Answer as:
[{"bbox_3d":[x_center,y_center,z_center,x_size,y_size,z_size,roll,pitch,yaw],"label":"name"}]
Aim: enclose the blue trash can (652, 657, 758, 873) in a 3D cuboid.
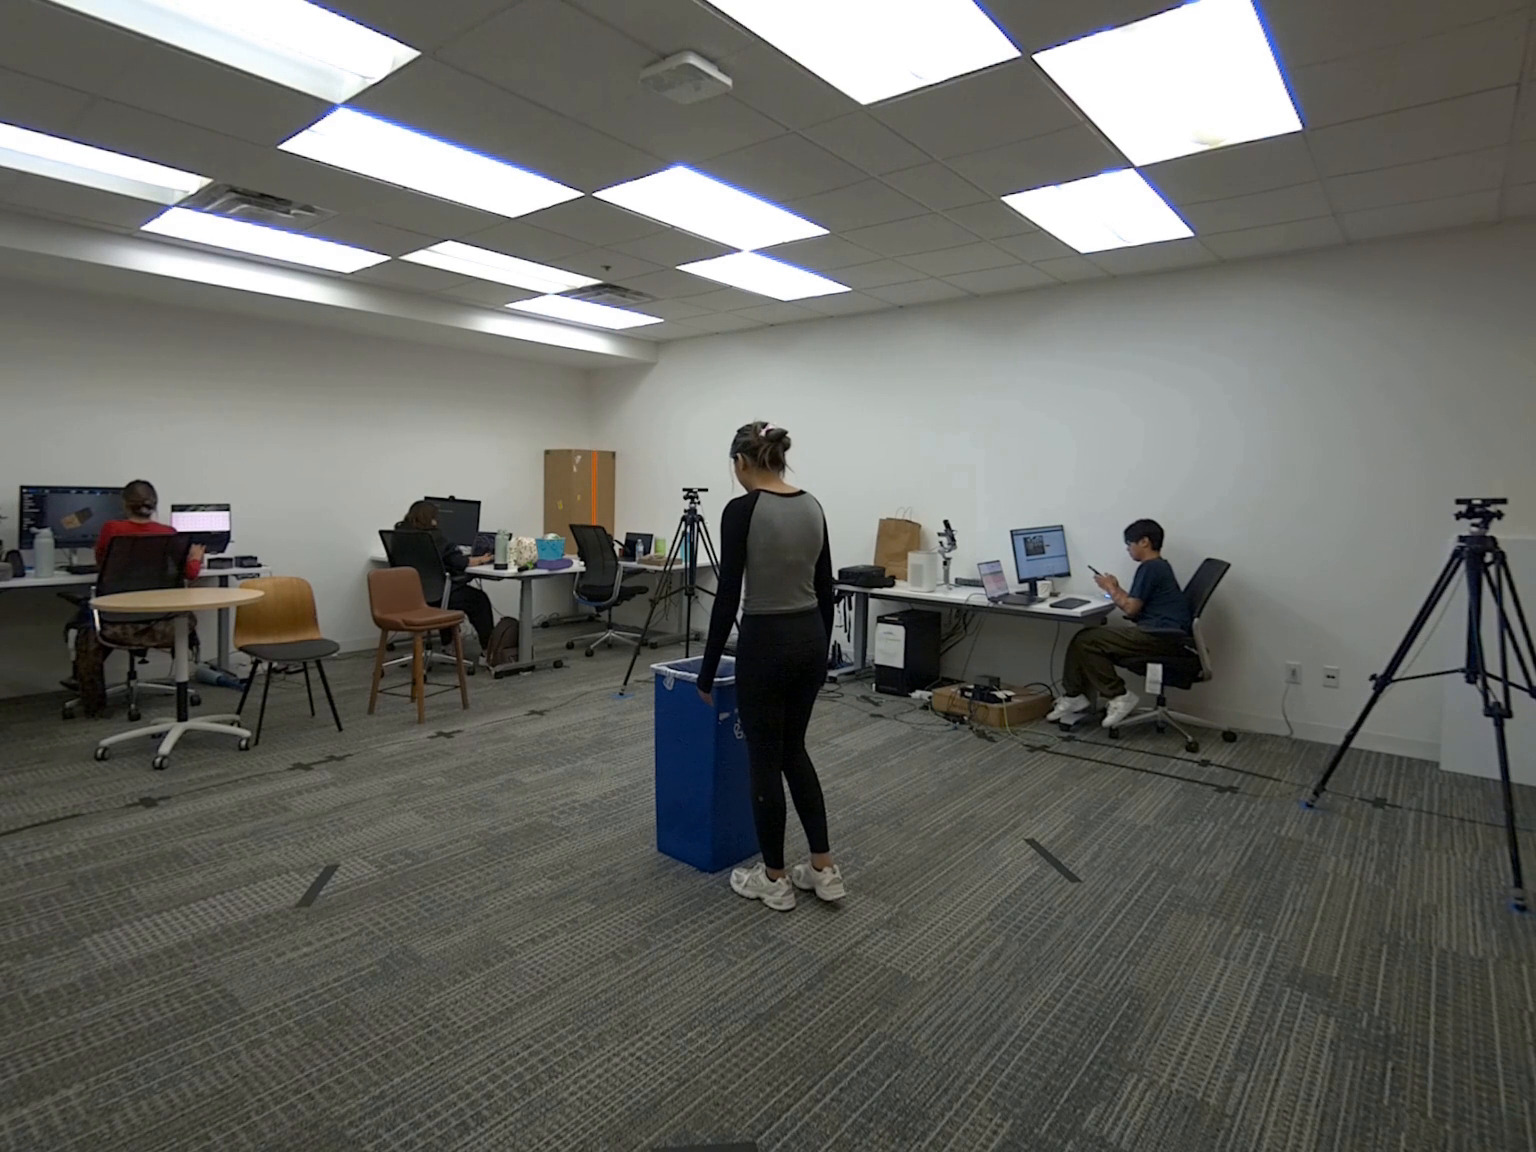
[{"bbox_3d":[-0.225,0.697,3.269,0.391,0.711,0.363,4,4,41],"label":"blue trash can"}]
